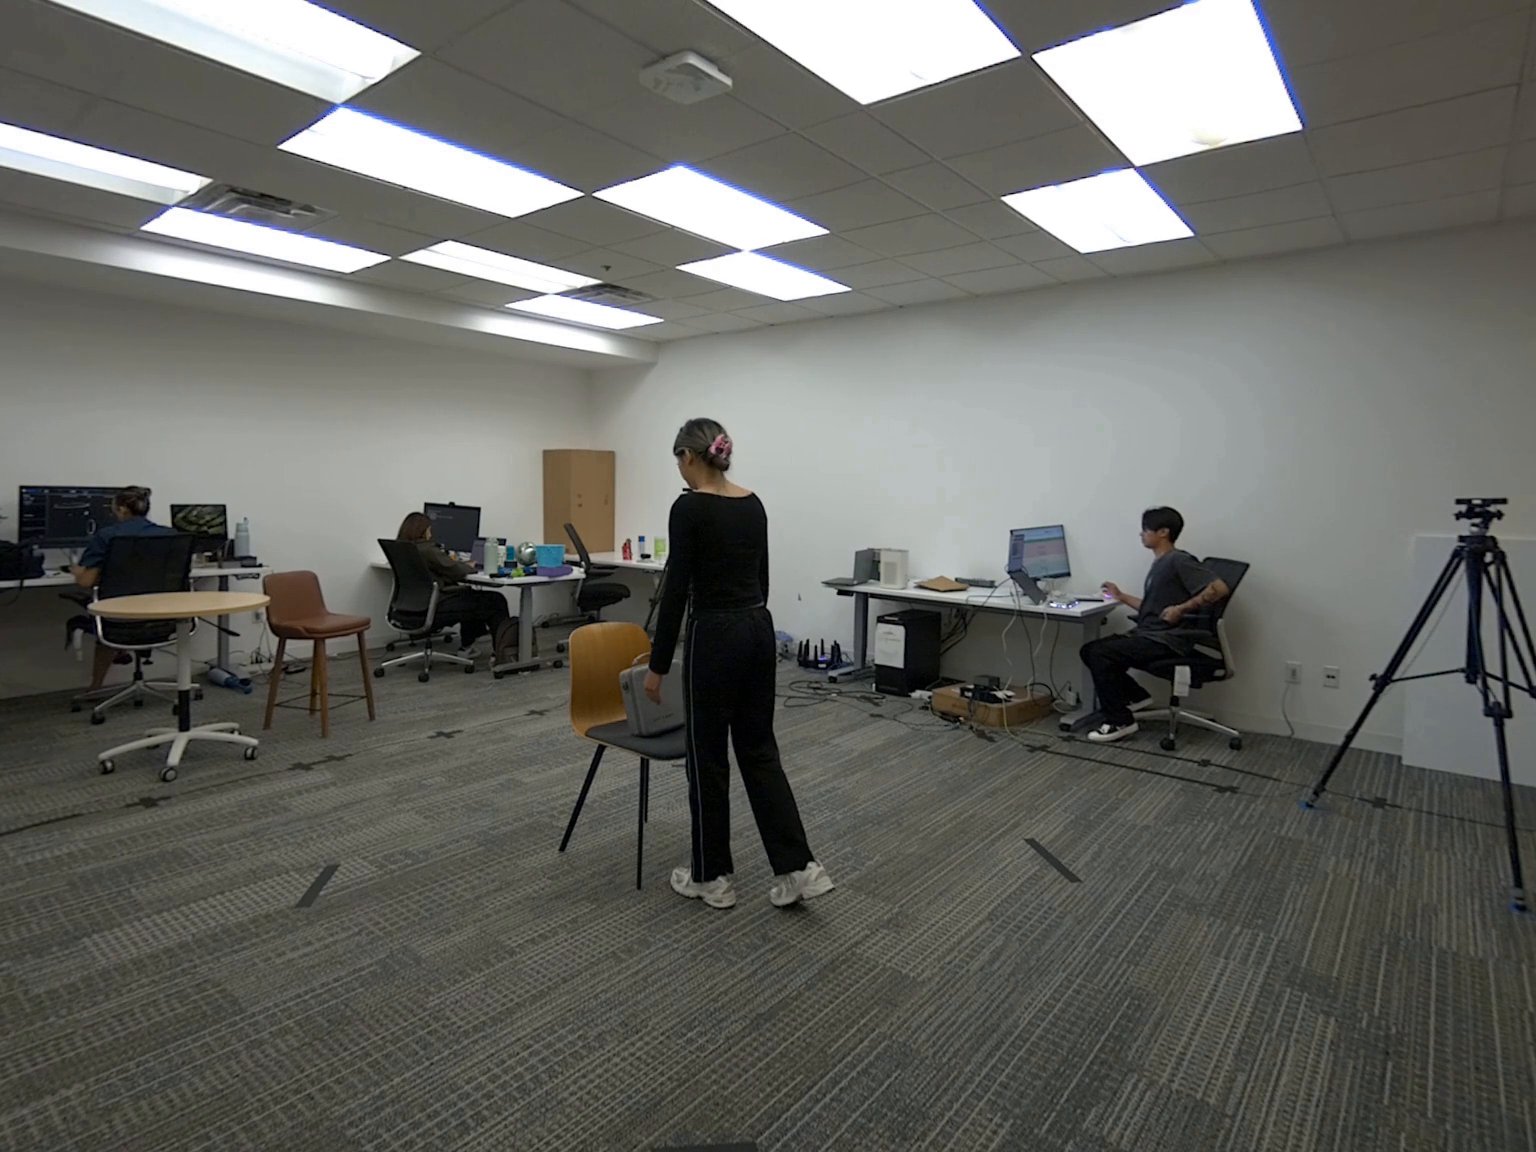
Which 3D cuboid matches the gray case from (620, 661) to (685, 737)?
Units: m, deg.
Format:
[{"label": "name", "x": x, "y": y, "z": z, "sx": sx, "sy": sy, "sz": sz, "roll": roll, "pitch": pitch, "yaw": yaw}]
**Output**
[{"label": "gray case", "x": -0.439, "y": 0.444, "z": 3.199, "sx": 0.106, "sy": 0.263, "sz": 0.249, "roll": -16, "pitch": -8, "yaw": 38}]
